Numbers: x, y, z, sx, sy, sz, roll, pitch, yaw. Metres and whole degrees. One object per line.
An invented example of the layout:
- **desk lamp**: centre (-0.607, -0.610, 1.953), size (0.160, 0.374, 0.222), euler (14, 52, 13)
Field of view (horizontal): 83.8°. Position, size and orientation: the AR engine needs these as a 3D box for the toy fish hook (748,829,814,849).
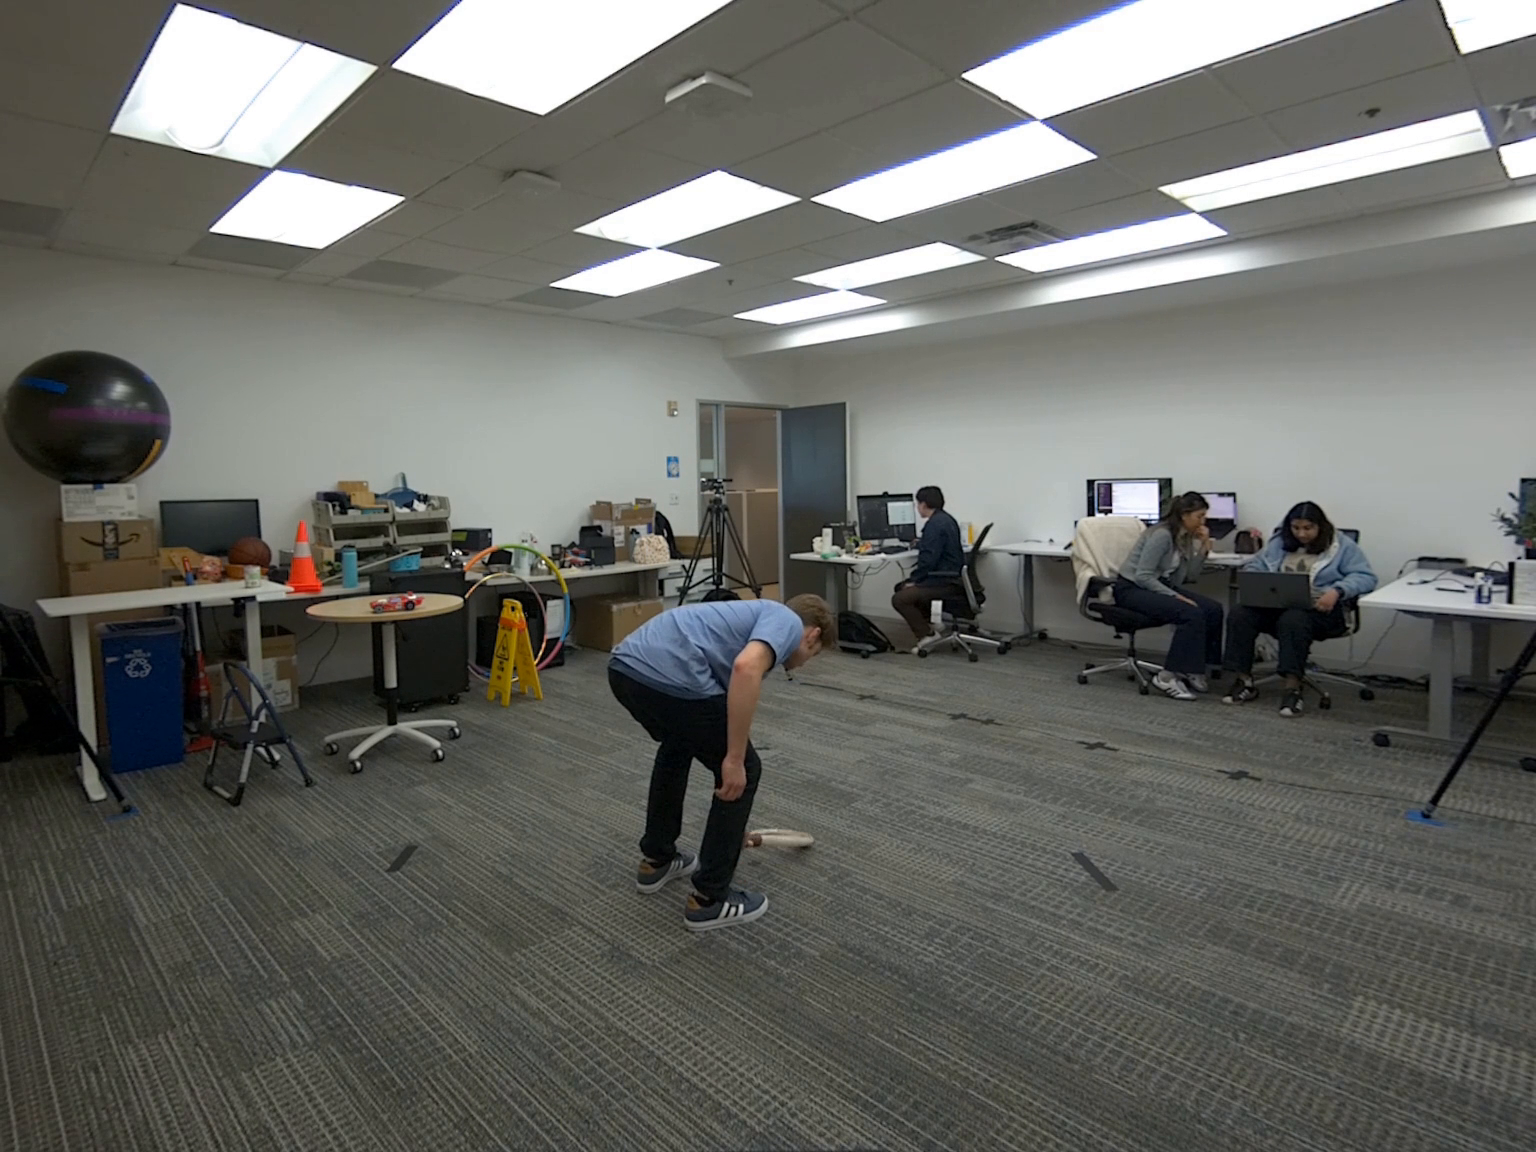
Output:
- **toy fish hook**: centre (-0.030, 0.970, 3.145), size (0.230, 0.049, 0.489), euler (-7, -15, 40)
